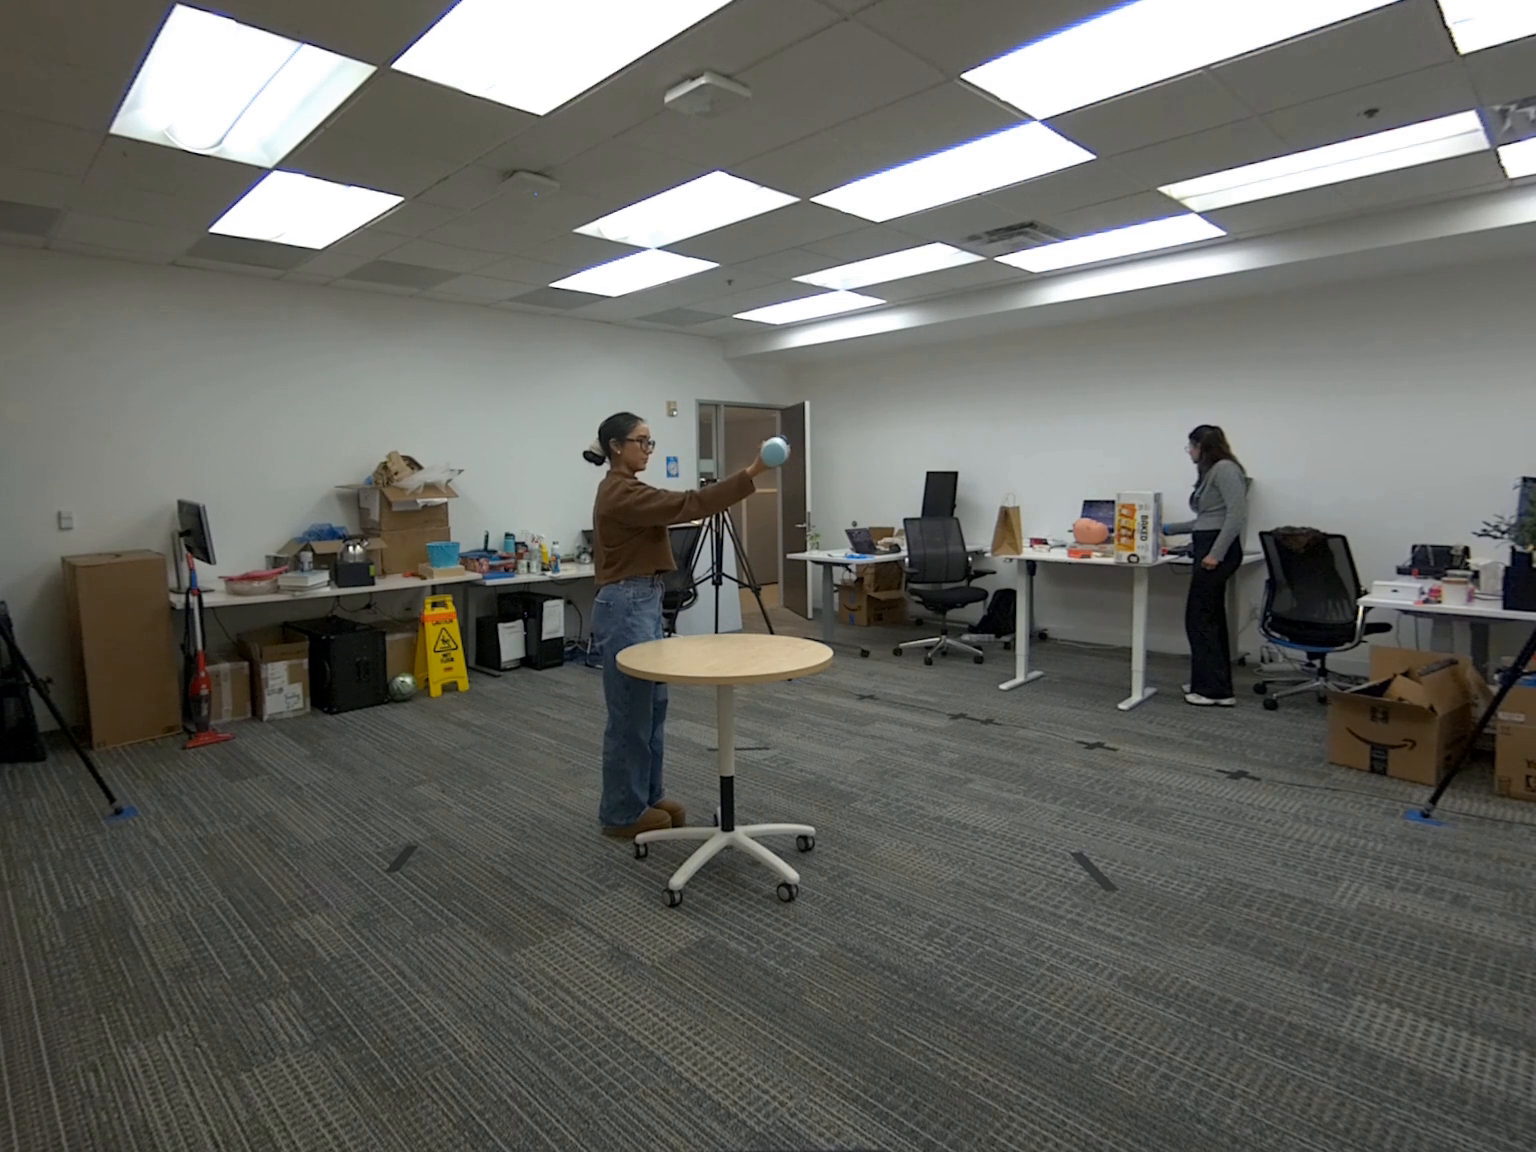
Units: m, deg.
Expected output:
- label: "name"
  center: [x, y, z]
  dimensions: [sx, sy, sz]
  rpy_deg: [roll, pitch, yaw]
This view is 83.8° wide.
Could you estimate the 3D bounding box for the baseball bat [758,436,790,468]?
- label: "baseball bat"
  center: [0.026, -0.462, 3.081]
  dimensions: [0.089, 0.088, 0.546]
  rpy_deg: [-1, 13, 2]
